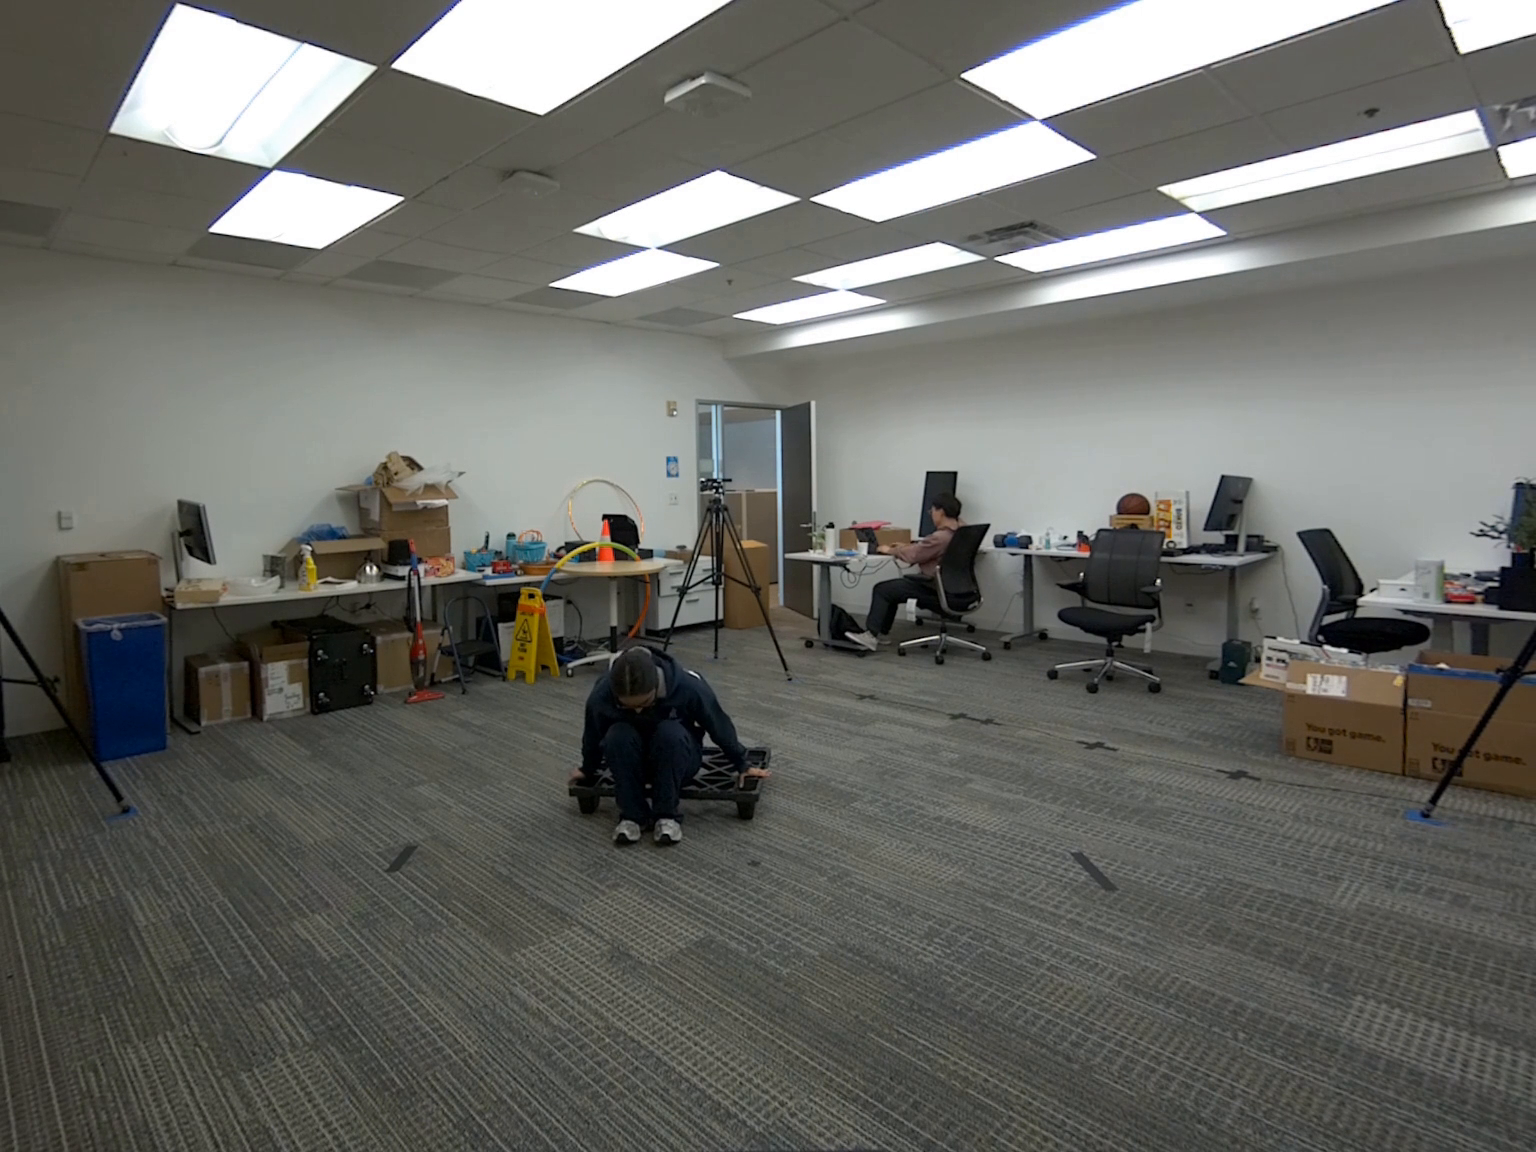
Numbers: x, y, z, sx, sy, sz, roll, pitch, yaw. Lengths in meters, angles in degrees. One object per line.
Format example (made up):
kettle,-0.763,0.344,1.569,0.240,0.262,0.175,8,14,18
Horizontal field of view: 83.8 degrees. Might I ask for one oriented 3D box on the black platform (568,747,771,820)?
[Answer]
black platform,-0.403,0.906,3.791,0.812,0.143,0.602,0,5,7
